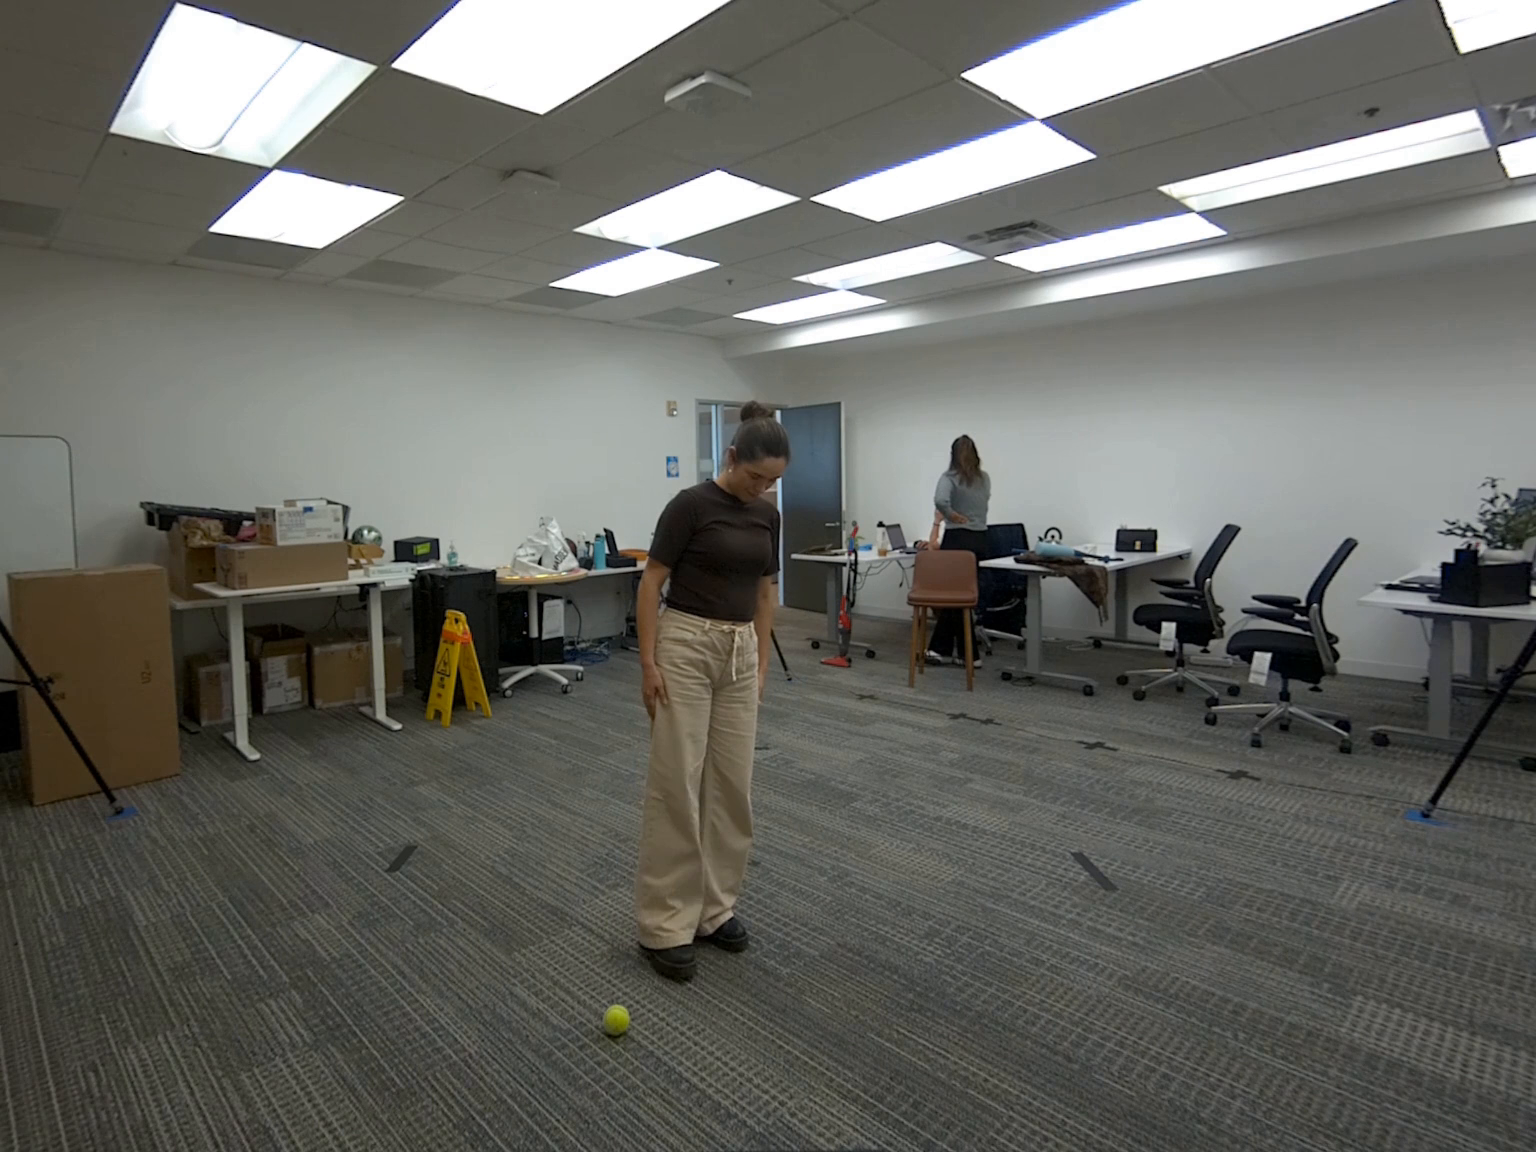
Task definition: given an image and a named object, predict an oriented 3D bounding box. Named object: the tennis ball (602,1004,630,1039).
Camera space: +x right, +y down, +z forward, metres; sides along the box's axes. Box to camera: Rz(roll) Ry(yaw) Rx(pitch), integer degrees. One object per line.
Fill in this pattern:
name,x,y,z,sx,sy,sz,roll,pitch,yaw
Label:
tennis ball,-0.382,1.119,2.176,0.066,0.066,0.067,-1,5,-2
